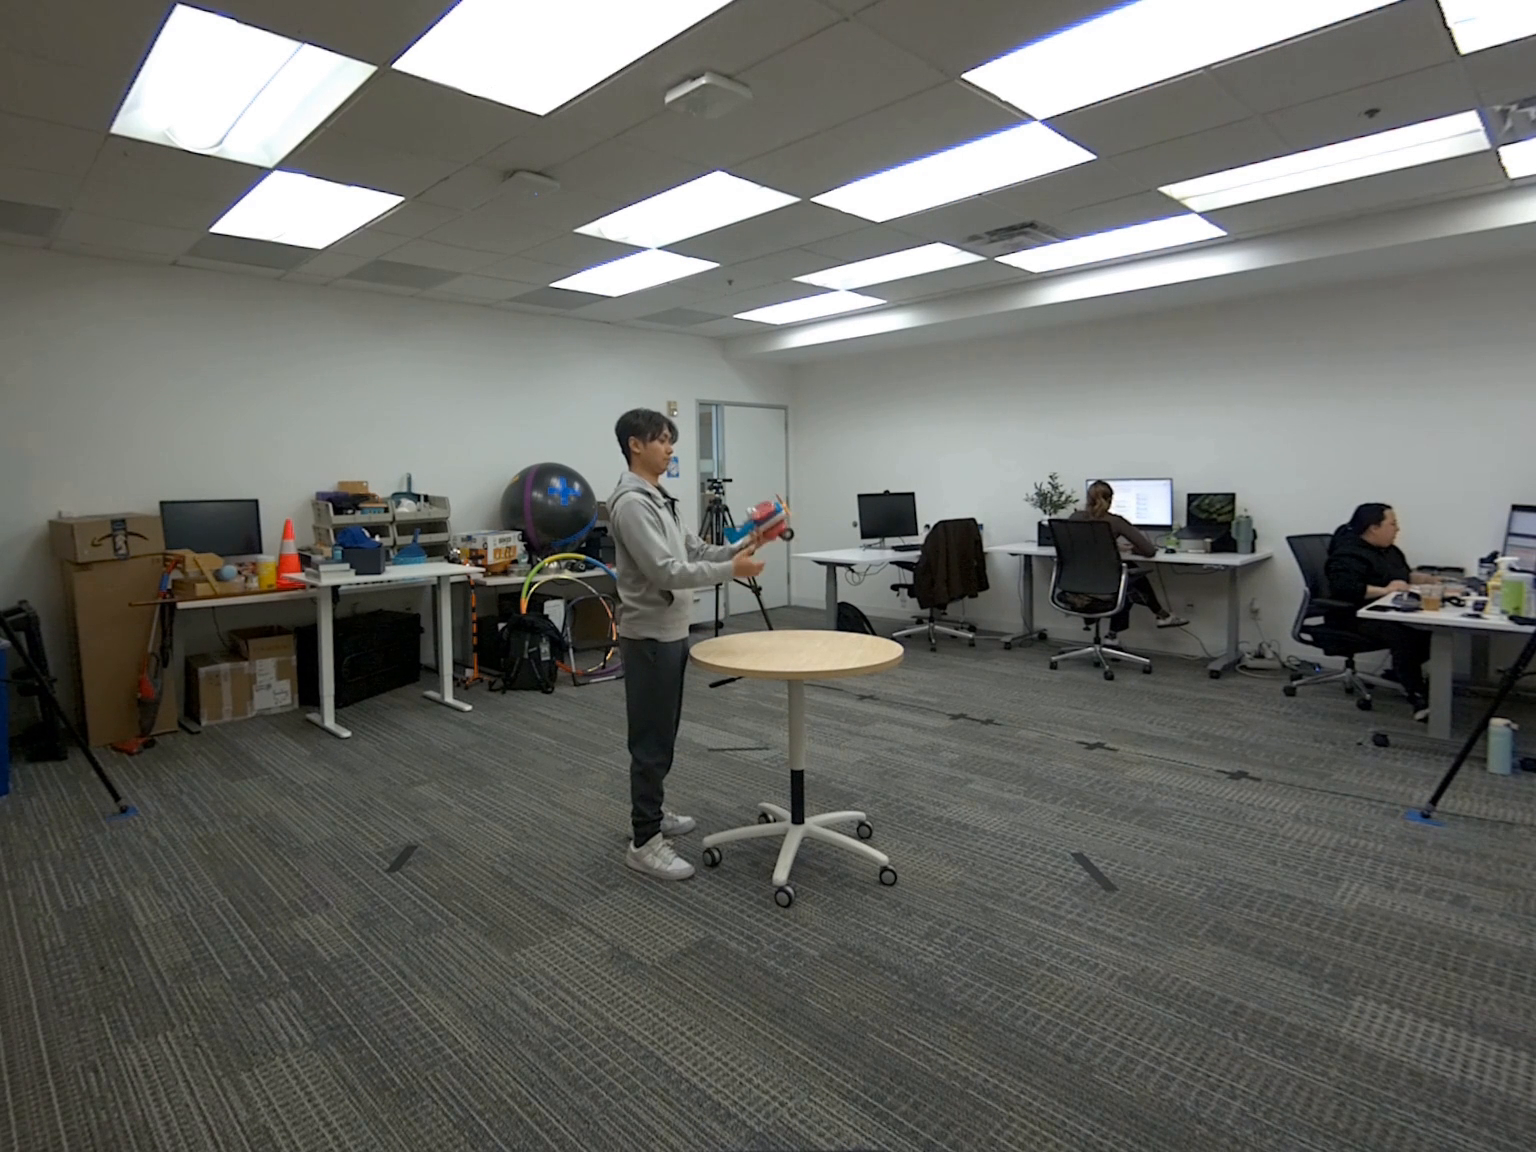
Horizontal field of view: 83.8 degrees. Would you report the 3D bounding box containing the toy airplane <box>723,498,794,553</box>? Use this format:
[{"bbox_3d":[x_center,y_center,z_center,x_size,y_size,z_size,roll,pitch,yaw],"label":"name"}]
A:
[{"bbox_3d":[-0.046,-0.174,3.202,0.256,0.155,0.257,-26,12,-32],"label":"toy airplane"}]
